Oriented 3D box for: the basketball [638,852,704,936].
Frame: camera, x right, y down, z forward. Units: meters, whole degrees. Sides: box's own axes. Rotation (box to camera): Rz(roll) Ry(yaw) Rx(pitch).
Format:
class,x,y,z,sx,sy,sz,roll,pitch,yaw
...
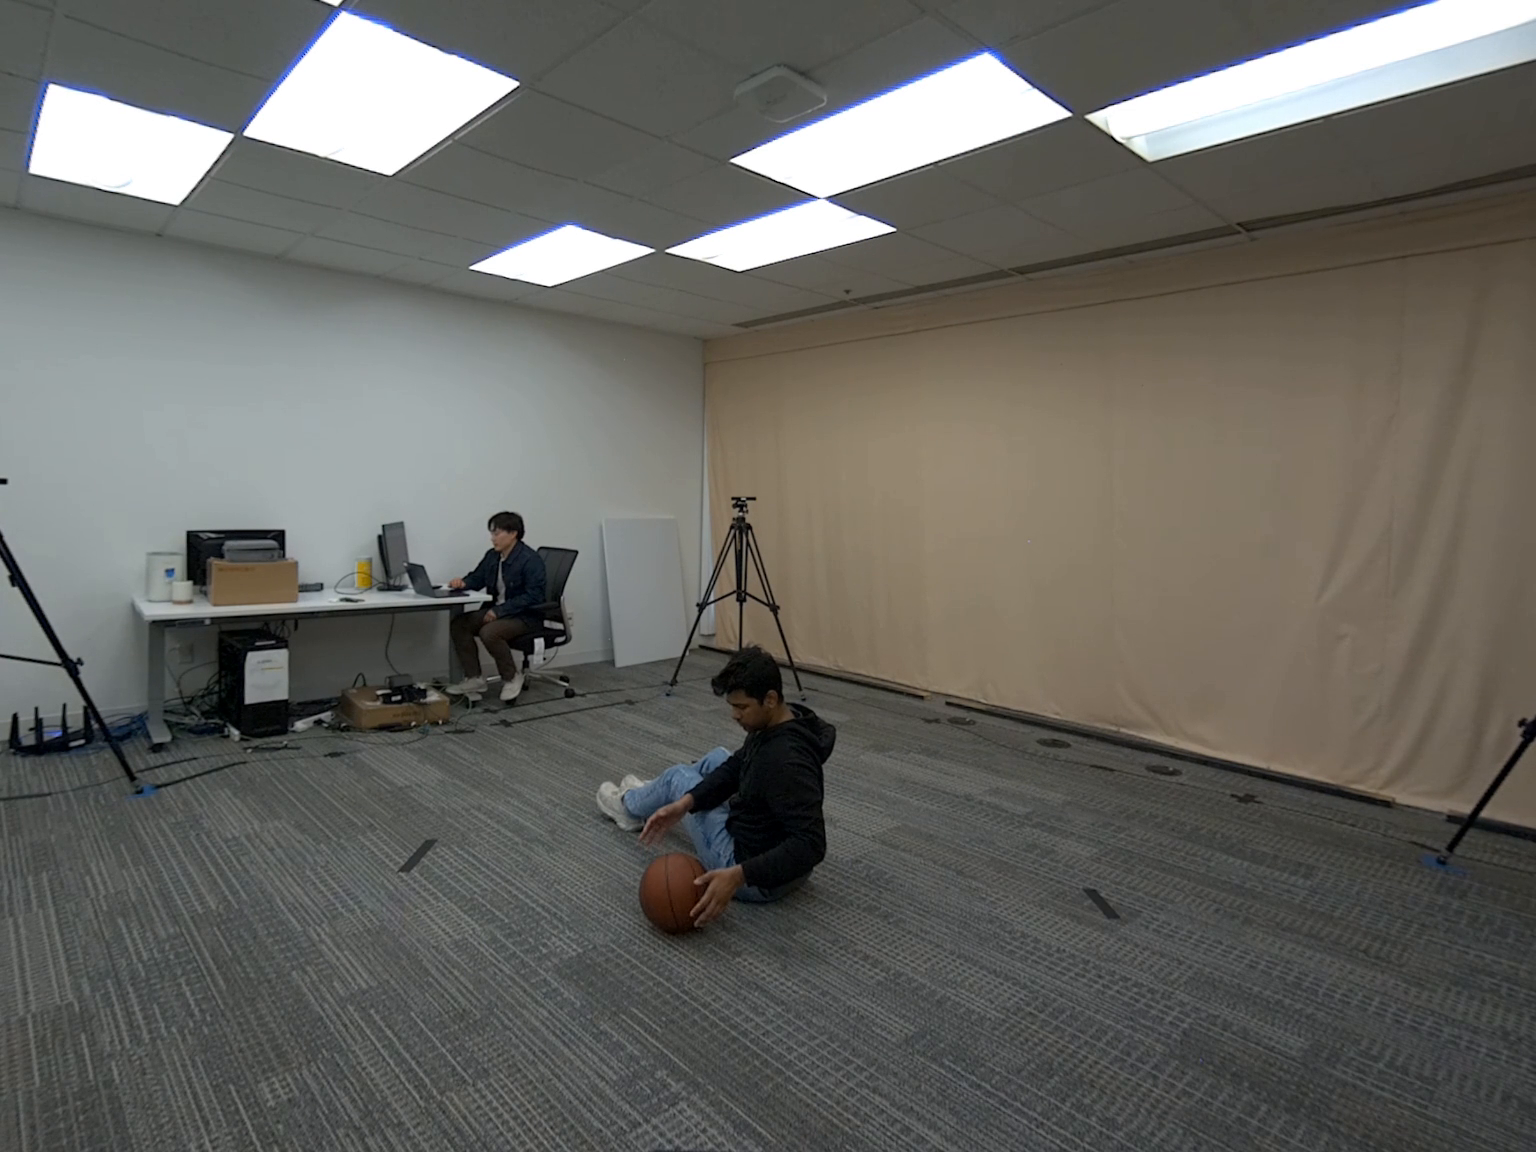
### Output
class,x,y,z,sx,sy,sz,roll,pitch,yaw
basketball,-0.303,1.019,2.717,0.236,0.235,0.237,1,4,-1
